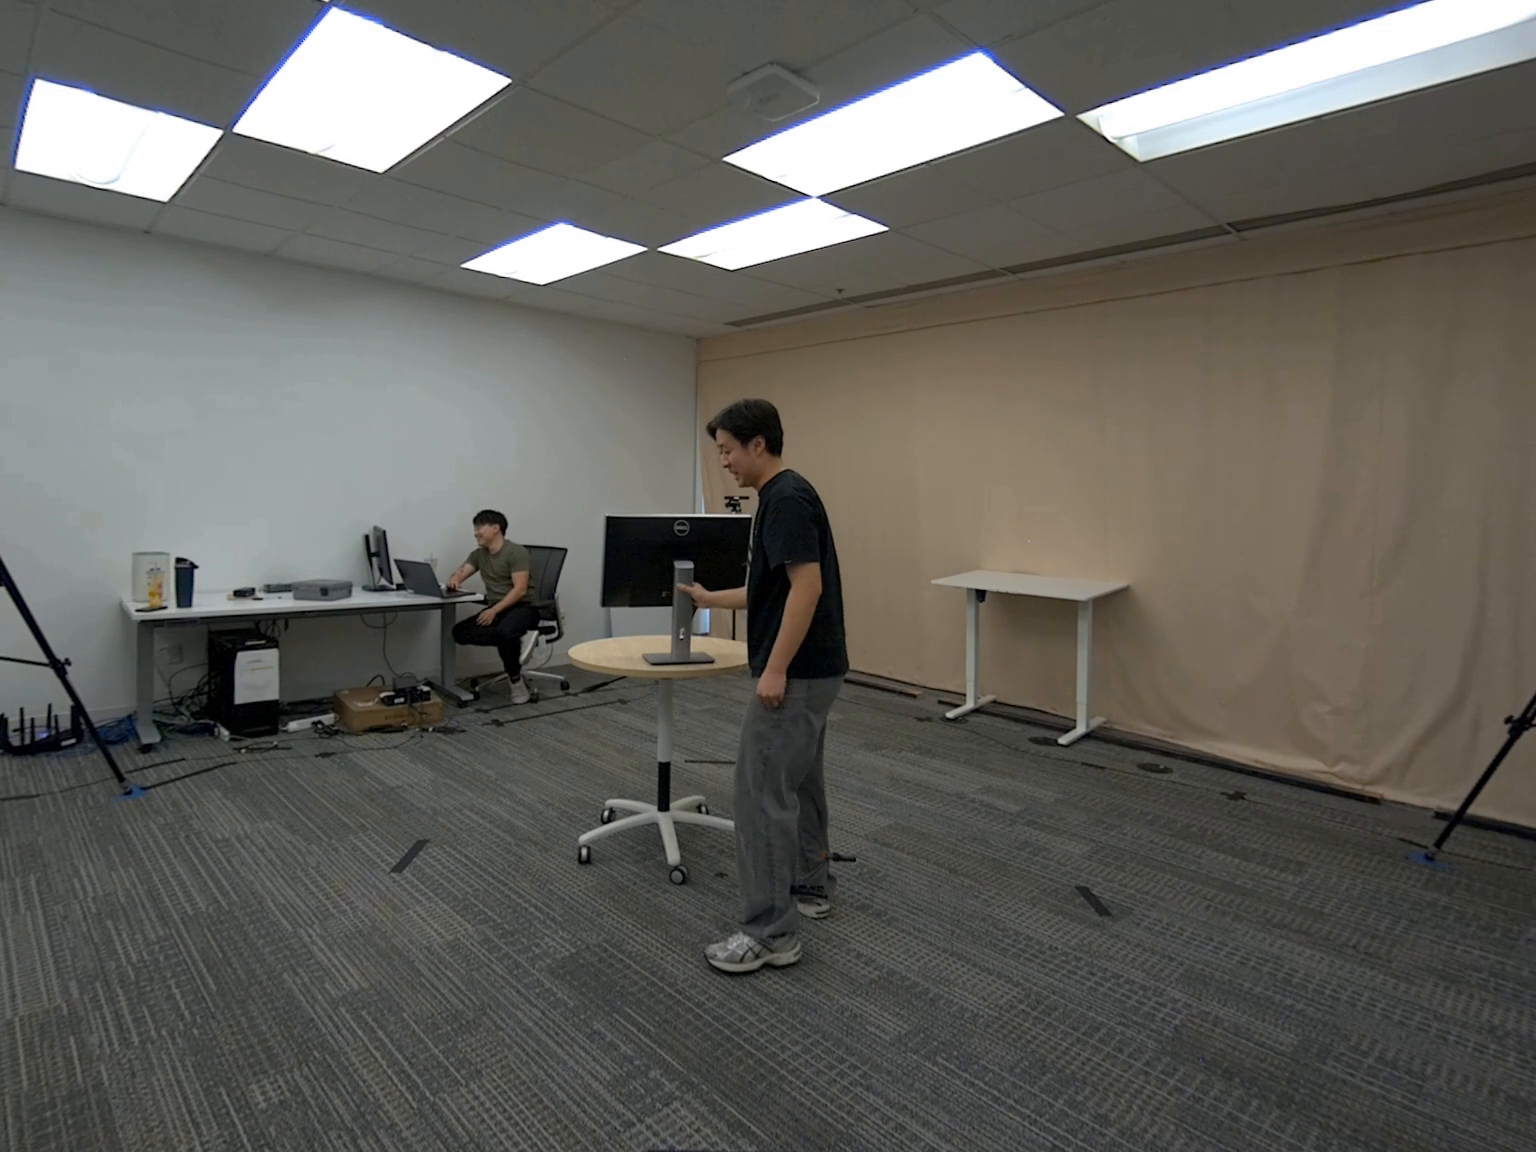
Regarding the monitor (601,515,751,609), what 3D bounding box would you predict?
[{"bbox_3d":[-0.334,0.051,3.139,0.556,0.565,0.225,0,3,-14],"label":"monitor"}]
